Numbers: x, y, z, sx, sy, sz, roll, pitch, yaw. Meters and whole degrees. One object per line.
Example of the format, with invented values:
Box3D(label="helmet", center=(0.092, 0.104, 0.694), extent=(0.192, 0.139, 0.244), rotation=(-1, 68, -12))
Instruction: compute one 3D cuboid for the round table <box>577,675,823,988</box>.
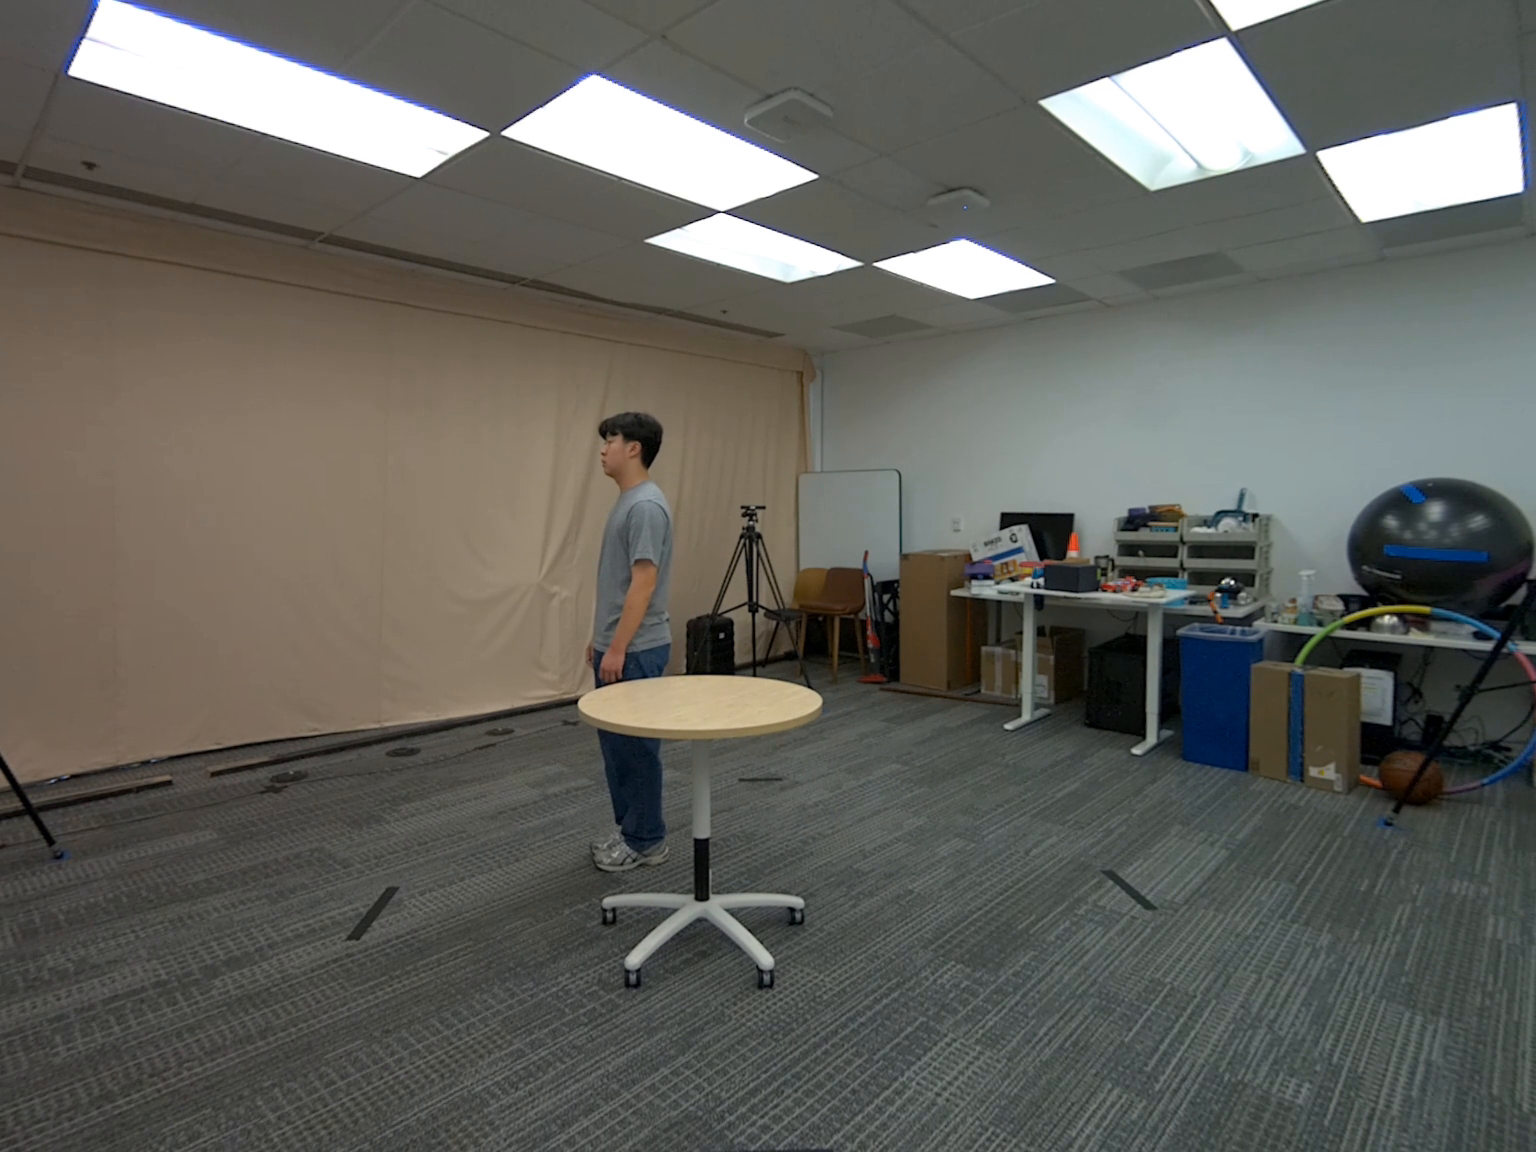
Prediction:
Box3D(label="round table", center=(-0.205, 0.782, 2.679), extent=(0.763, 0.792, 0.767), rotation=(-1, 4, -2))
